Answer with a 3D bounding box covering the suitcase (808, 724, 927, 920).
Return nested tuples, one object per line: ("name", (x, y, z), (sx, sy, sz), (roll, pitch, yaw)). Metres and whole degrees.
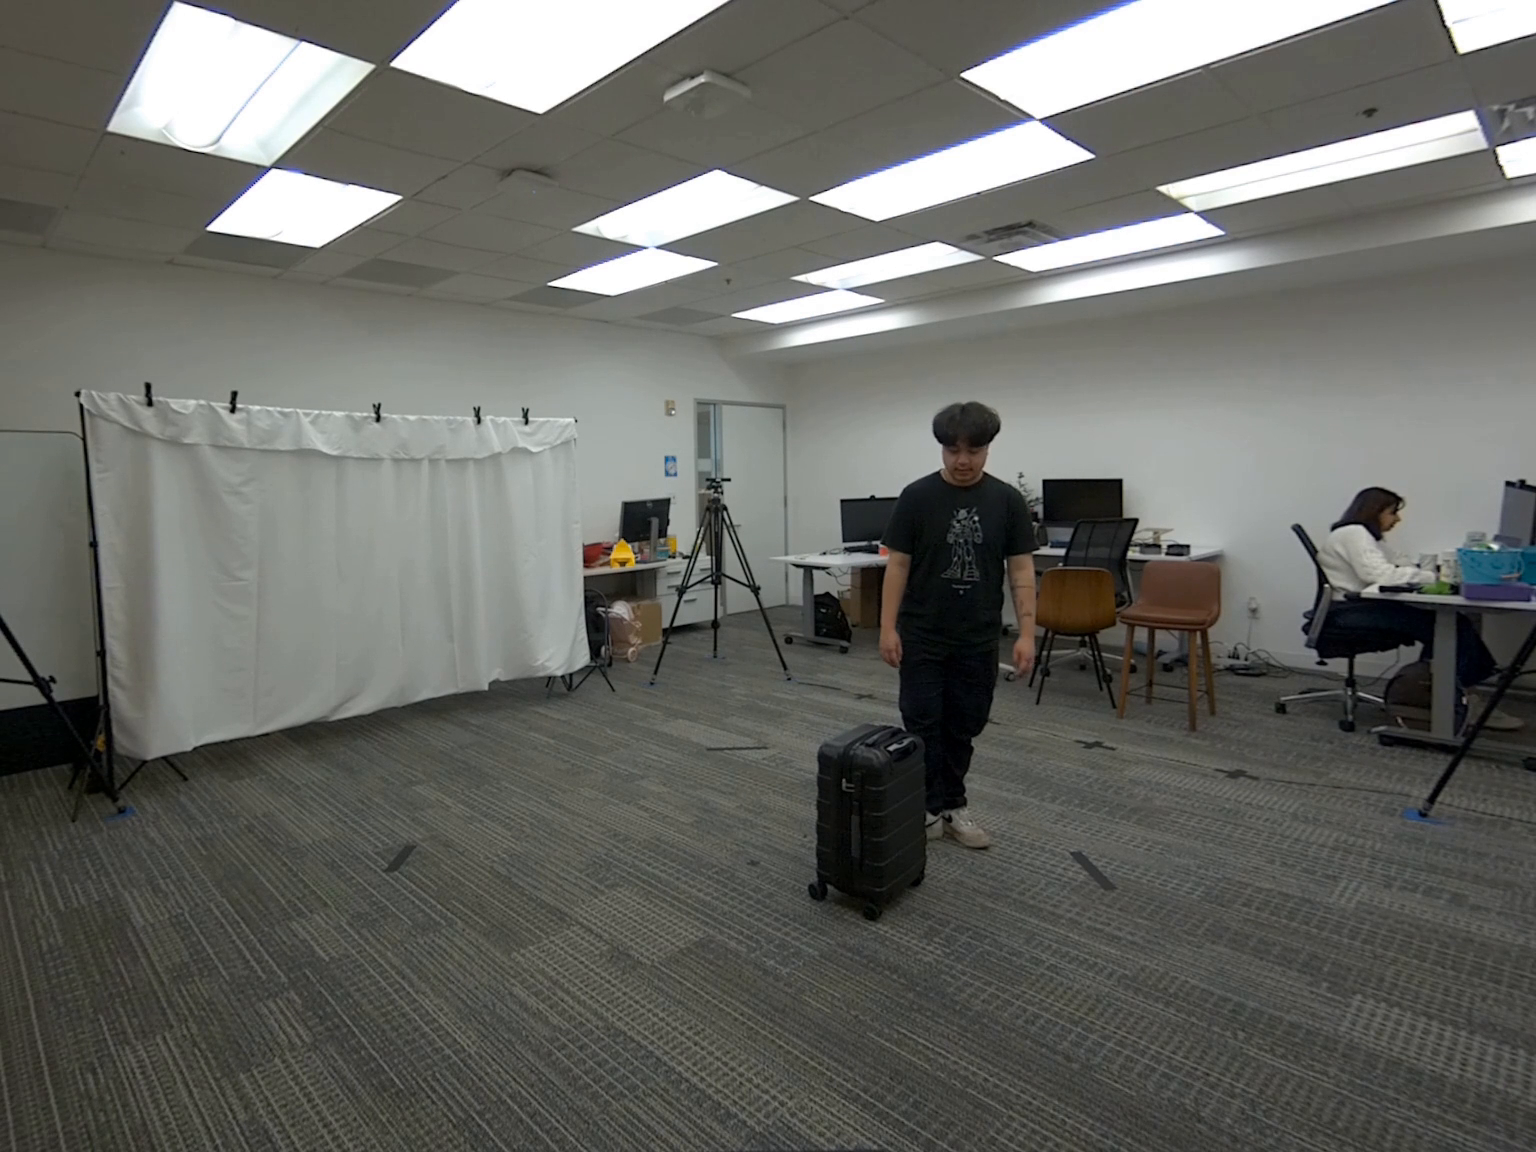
("suitcase", (0.348, 0.789, 2.846), (0.256, 0.547, 0.366), (3, 6, 37))
